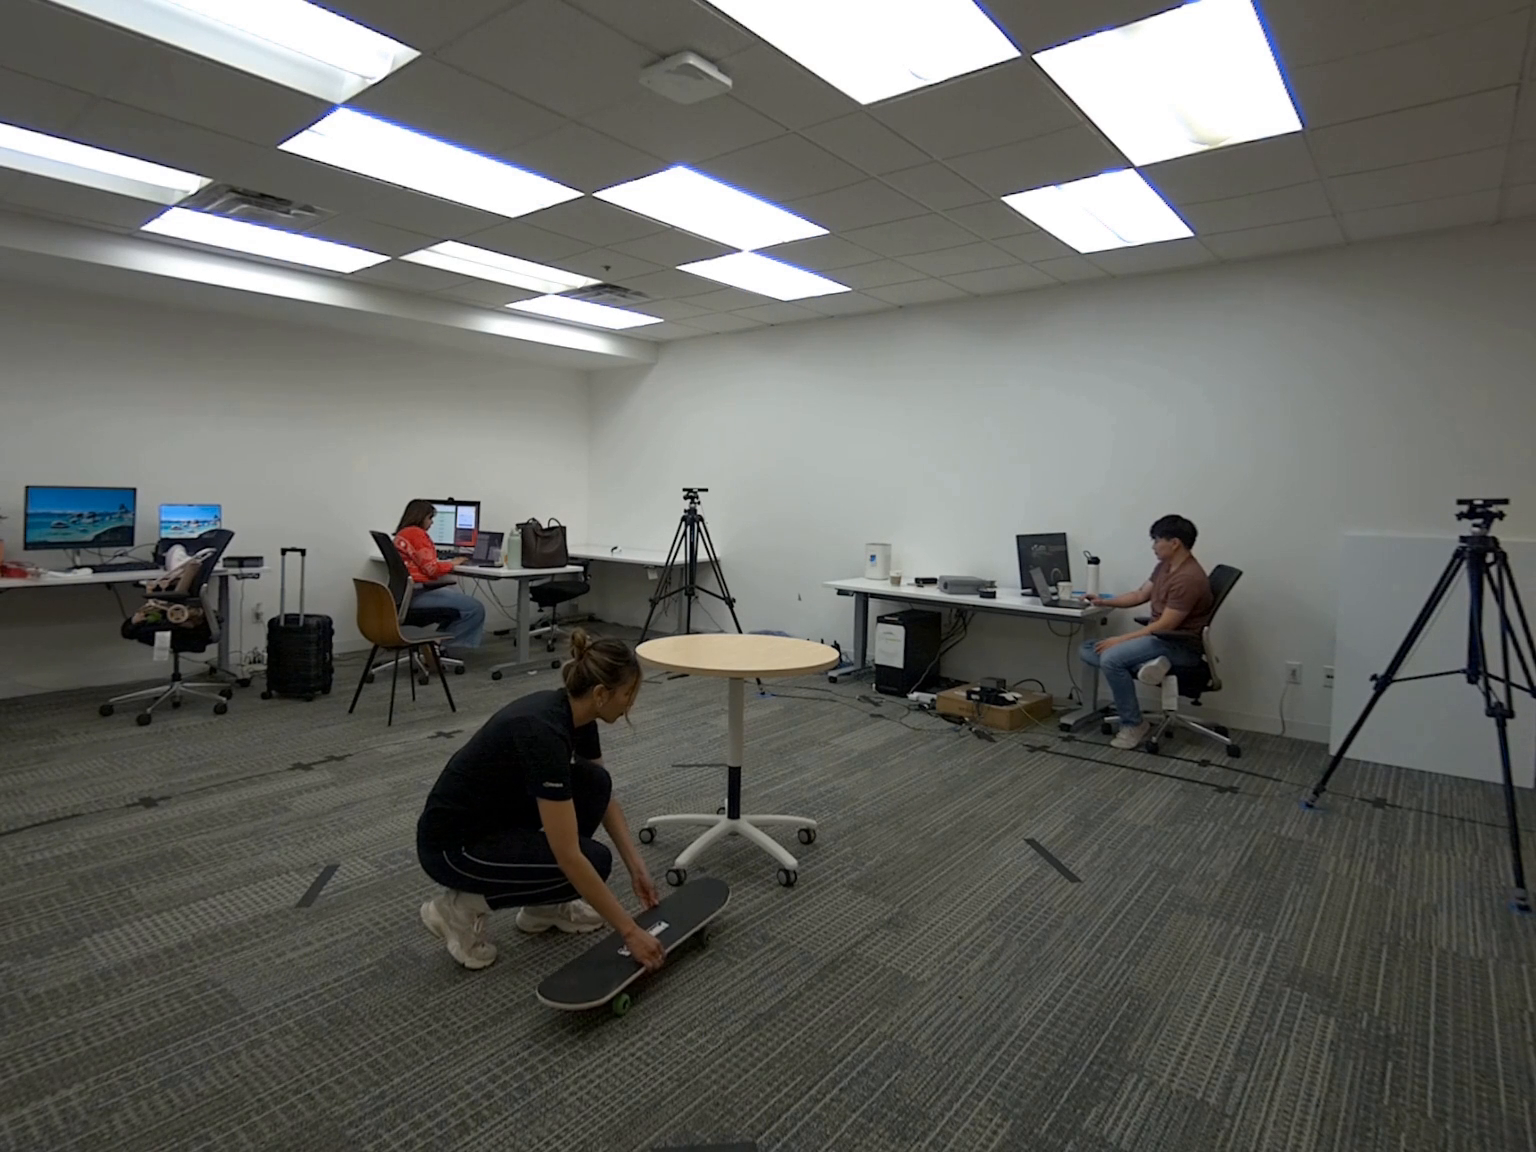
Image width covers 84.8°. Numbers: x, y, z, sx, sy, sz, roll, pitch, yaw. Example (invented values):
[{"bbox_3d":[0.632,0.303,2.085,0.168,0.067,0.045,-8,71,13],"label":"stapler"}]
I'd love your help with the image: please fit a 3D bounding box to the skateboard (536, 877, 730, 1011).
[{"bbox_3d":[-0.360,1.072,2.451,0.199,0.110,0.766,3,7,30],"label":"skateboard"}]
